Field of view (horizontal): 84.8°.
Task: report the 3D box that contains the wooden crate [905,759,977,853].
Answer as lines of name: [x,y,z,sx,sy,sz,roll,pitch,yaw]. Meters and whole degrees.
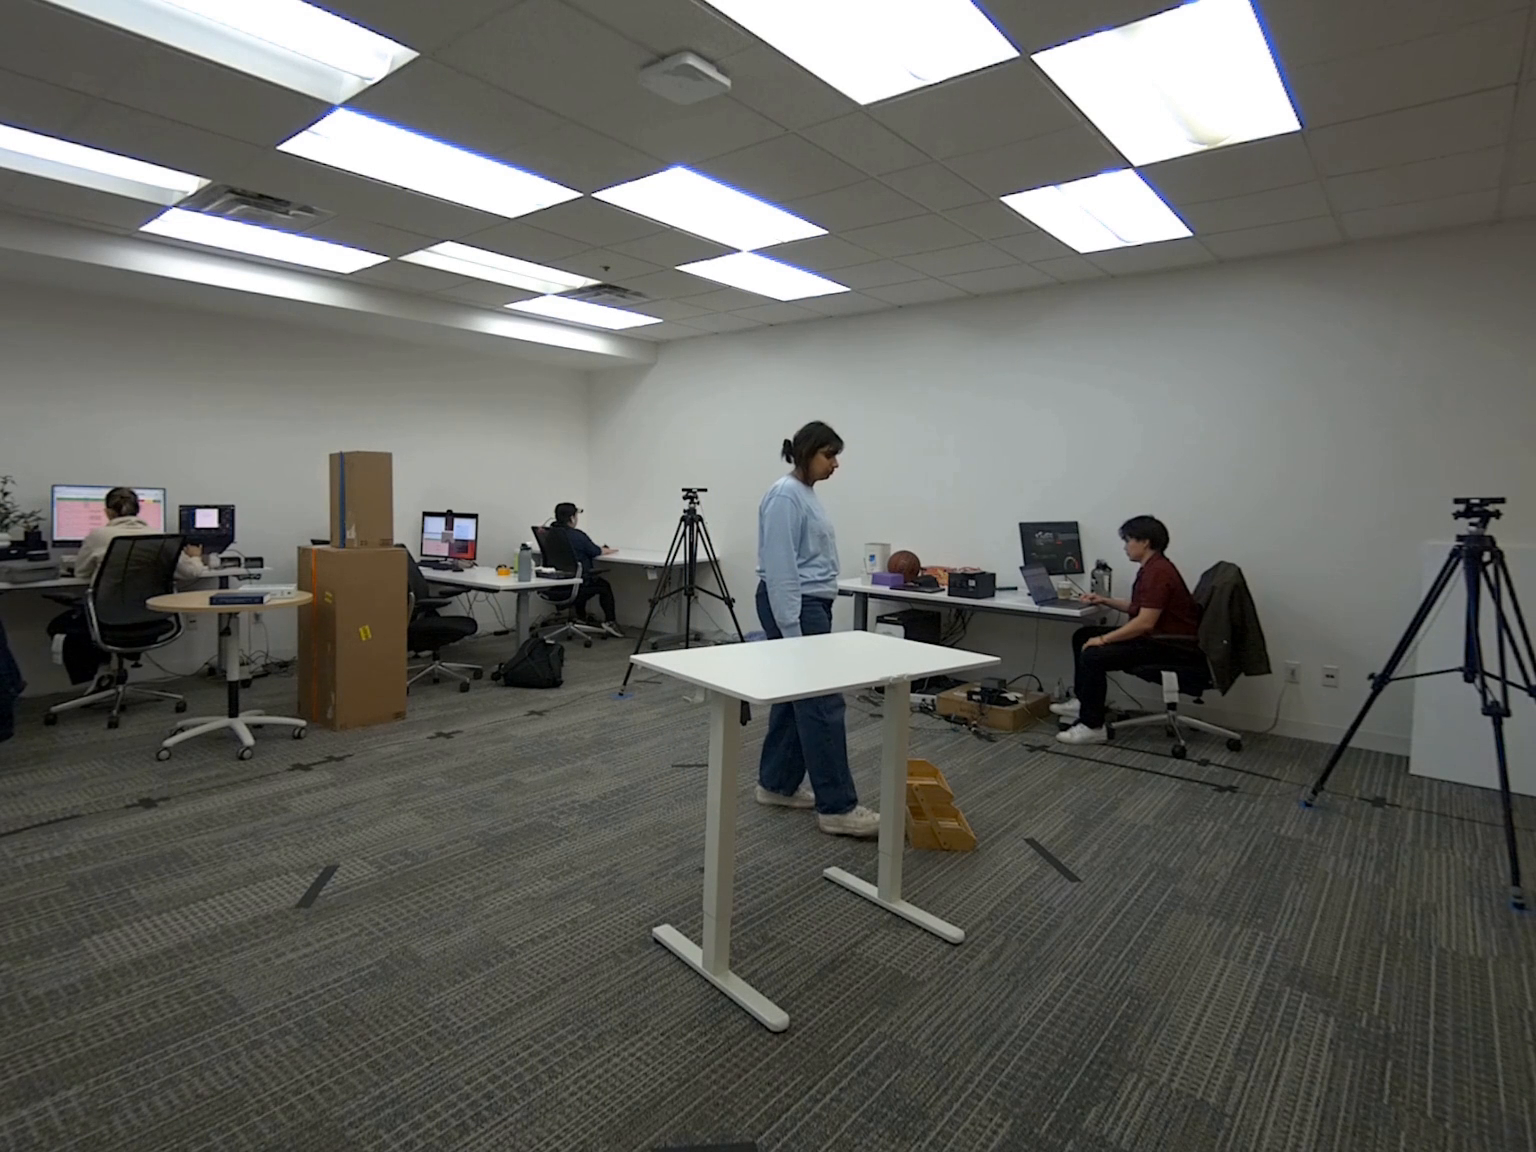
wooden crate: [0.679,0.926,3.481,0.303,0.272,0.324,1,4,3]
